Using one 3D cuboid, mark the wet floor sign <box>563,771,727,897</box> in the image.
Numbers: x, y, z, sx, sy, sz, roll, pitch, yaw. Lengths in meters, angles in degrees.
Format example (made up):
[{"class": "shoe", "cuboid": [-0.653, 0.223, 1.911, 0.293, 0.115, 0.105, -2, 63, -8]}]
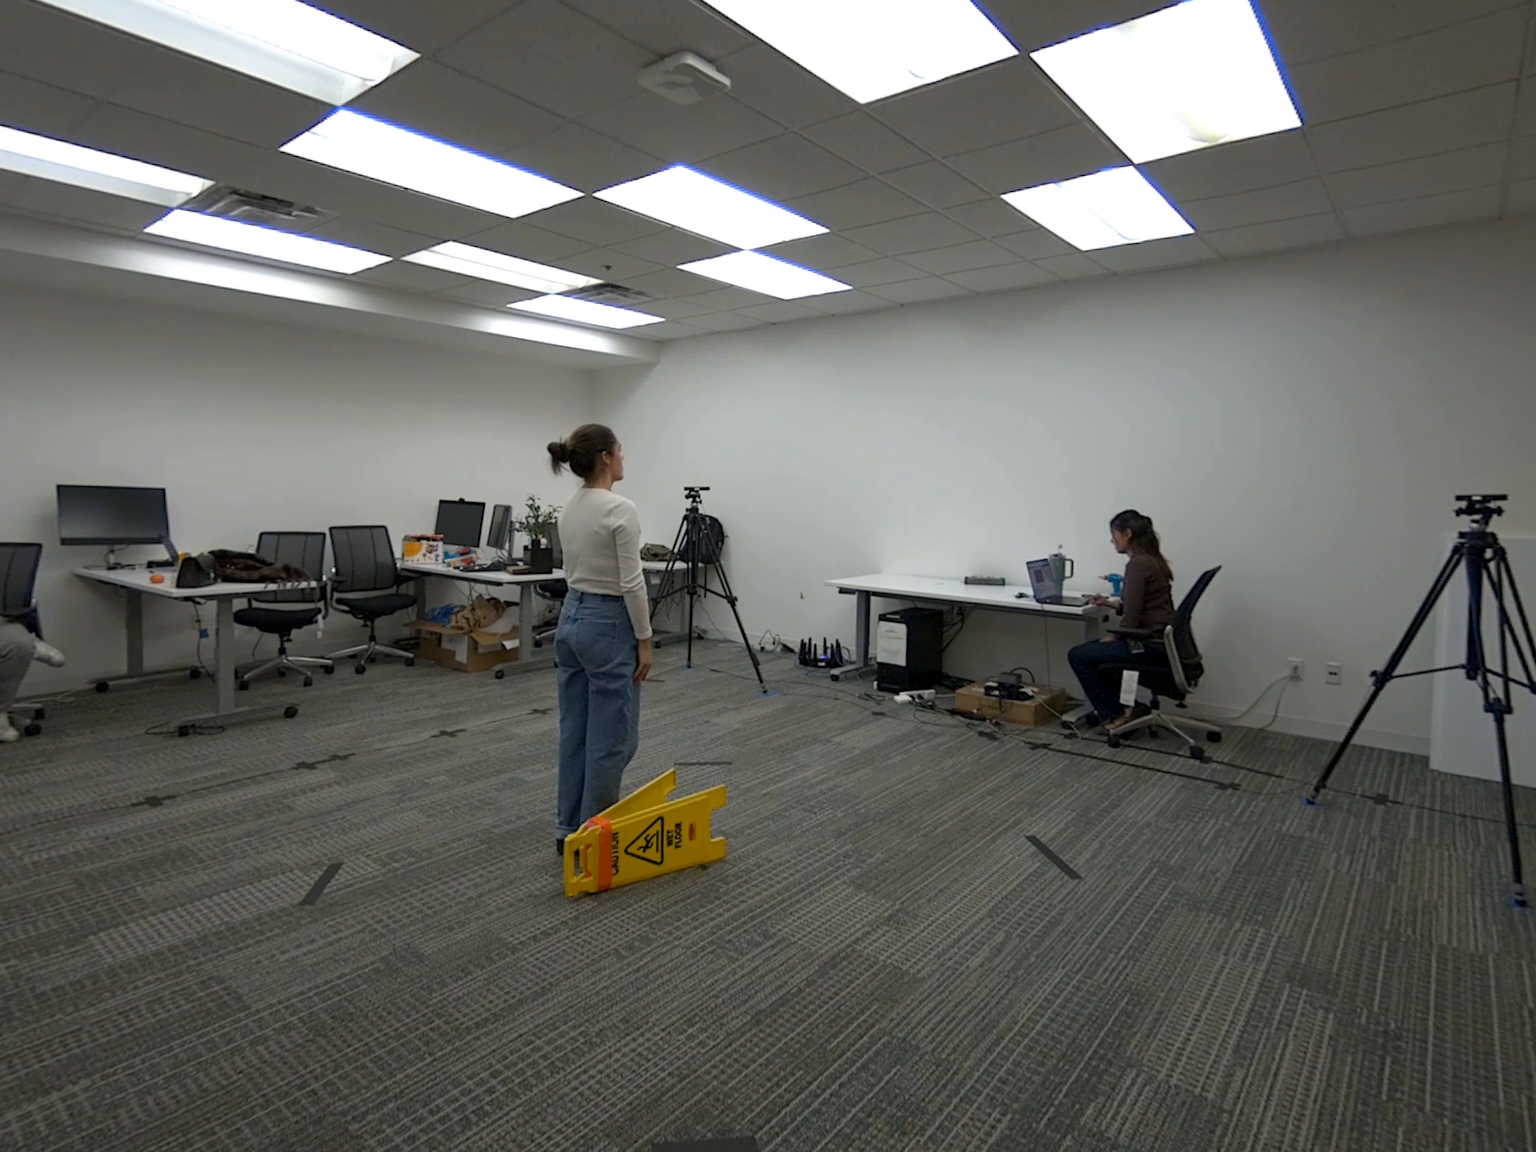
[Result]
[{"class": "wet floor sign", "cuboid": [-0.472, 0.937, 3.053, 0.299, 0.281, 0.628, 3, 7, 40]}]
